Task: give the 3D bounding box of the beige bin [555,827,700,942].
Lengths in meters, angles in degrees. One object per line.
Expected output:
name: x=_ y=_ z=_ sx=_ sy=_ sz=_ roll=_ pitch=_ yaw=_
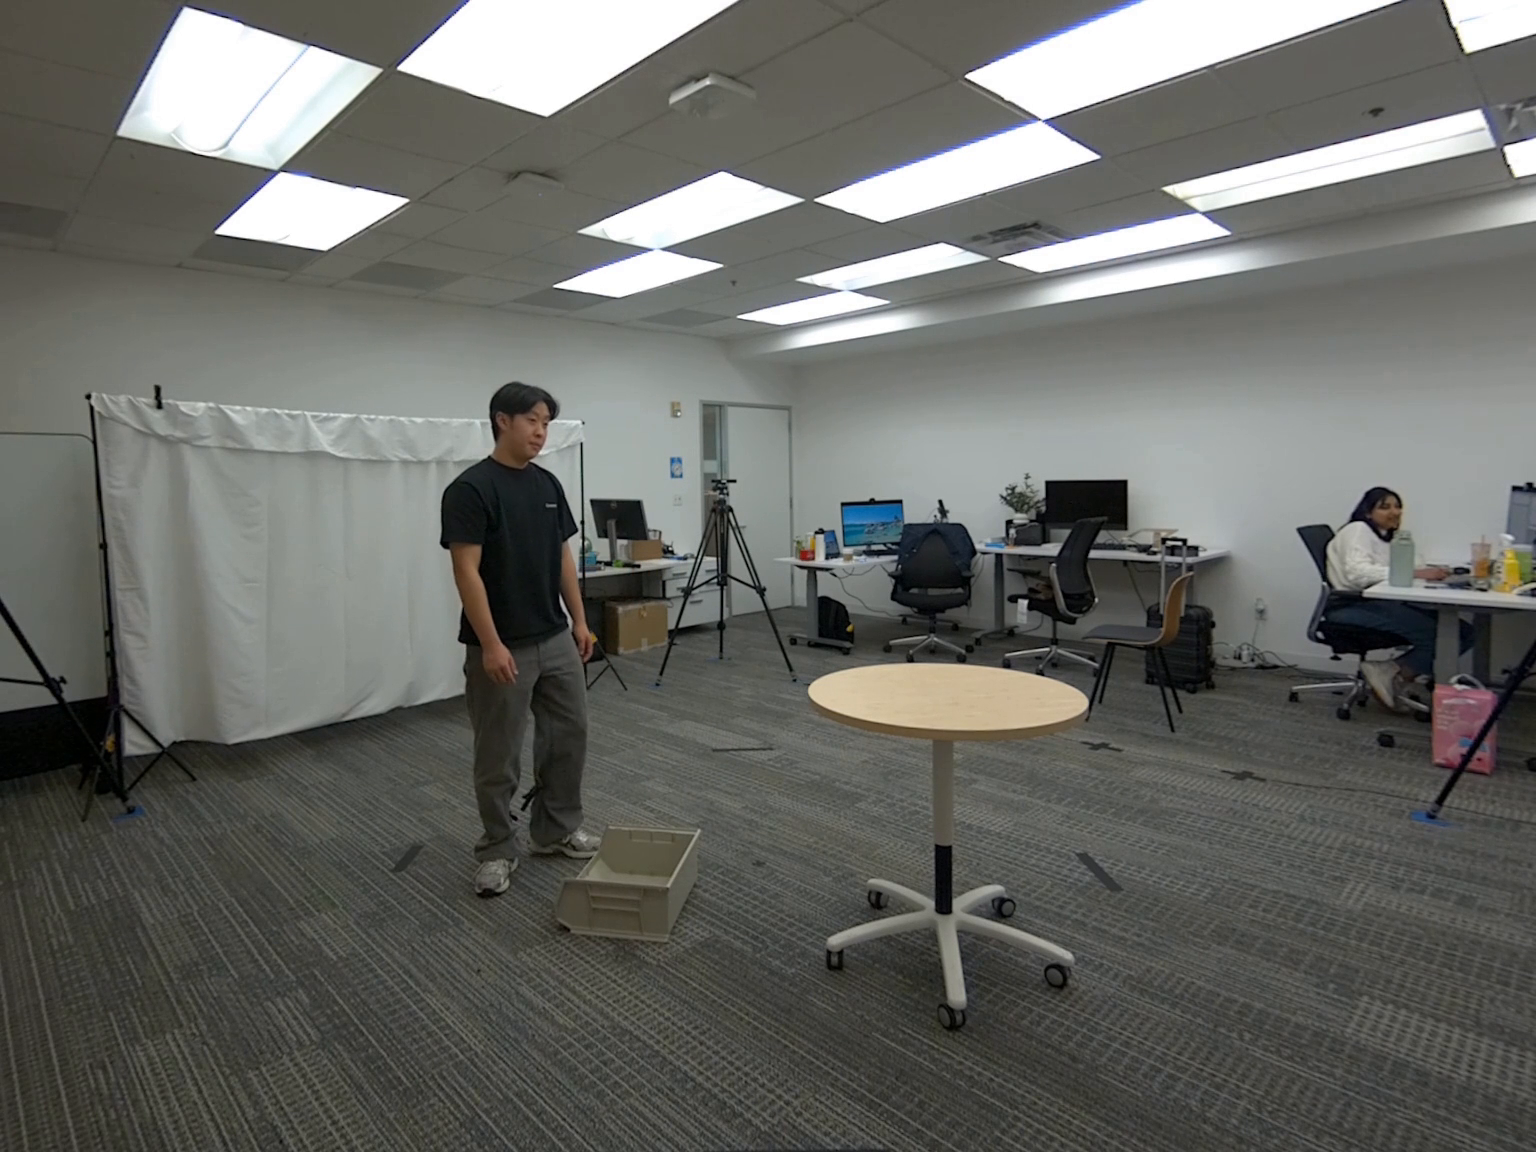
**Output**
beige bin: x=-0.448 y=1.000 z=2.817 sx=0.381 sy=0.188 sz=0.420 roll=1 pitch=6 yaw=10
